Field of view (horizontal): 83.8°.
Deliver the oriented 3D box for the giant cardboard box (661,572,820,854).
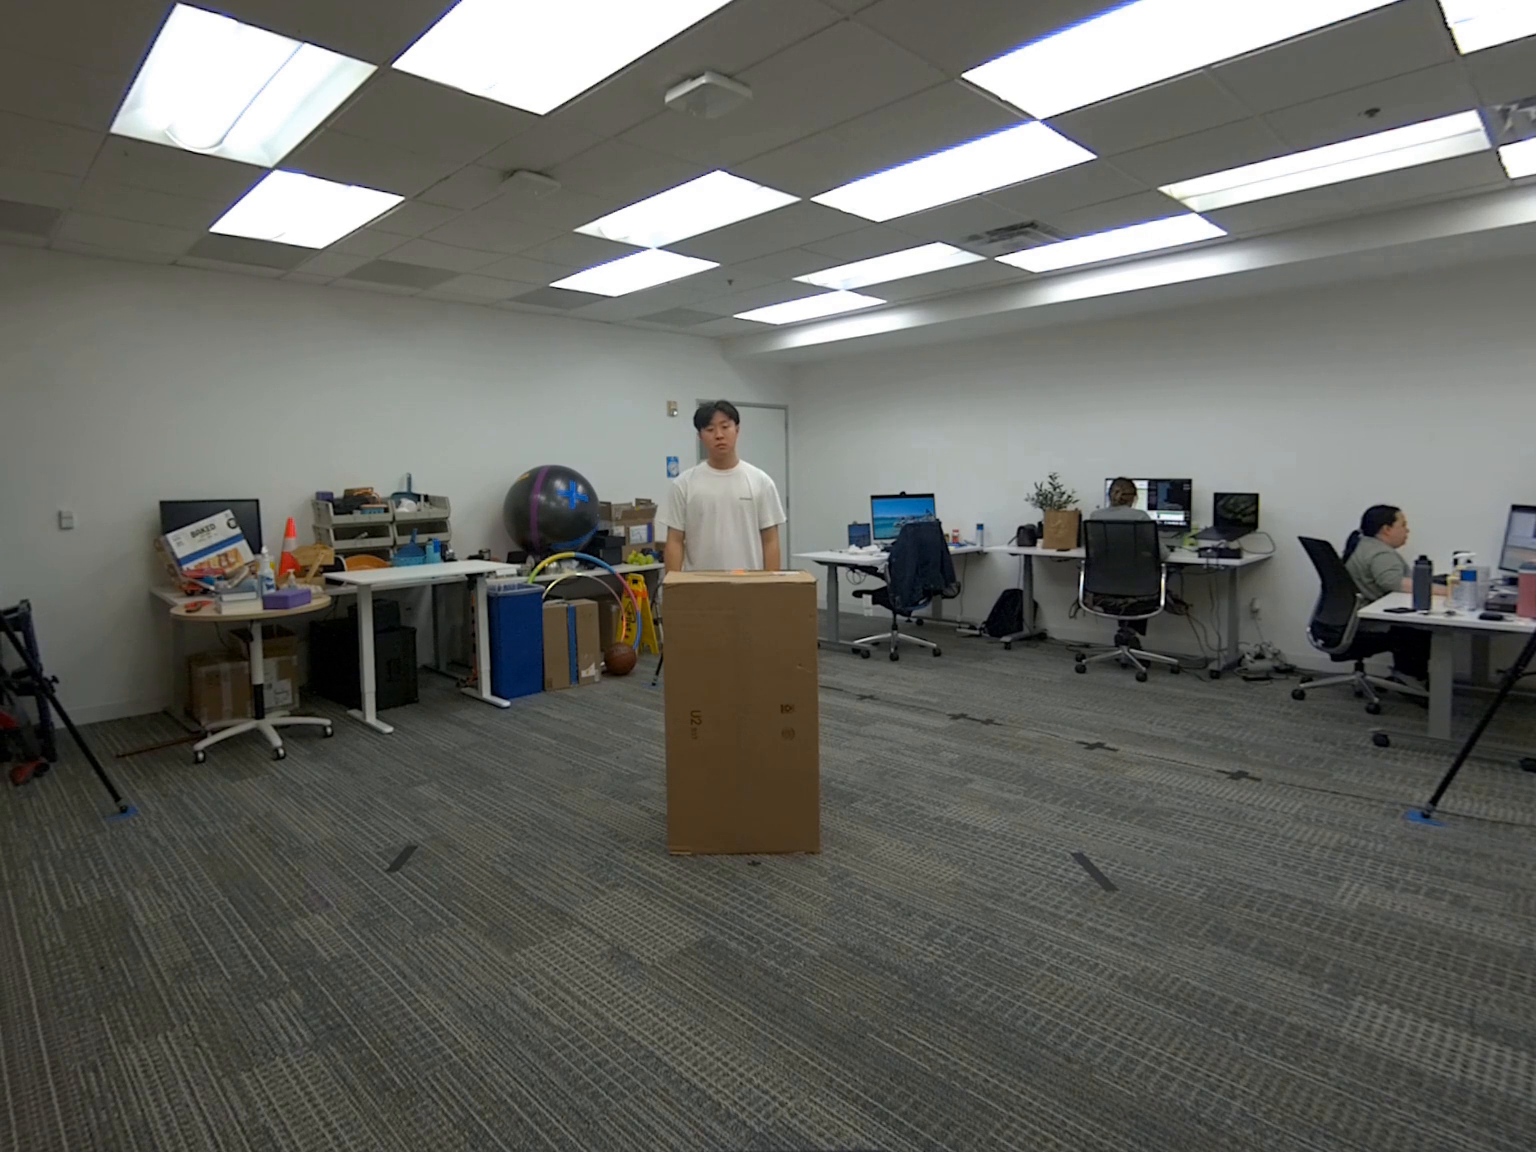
[{"bbox_3d":[-0.104,0.509,3.367,0.577,1.023,0.428,-1,3,-1],"label":"giant cardboard box"}]
